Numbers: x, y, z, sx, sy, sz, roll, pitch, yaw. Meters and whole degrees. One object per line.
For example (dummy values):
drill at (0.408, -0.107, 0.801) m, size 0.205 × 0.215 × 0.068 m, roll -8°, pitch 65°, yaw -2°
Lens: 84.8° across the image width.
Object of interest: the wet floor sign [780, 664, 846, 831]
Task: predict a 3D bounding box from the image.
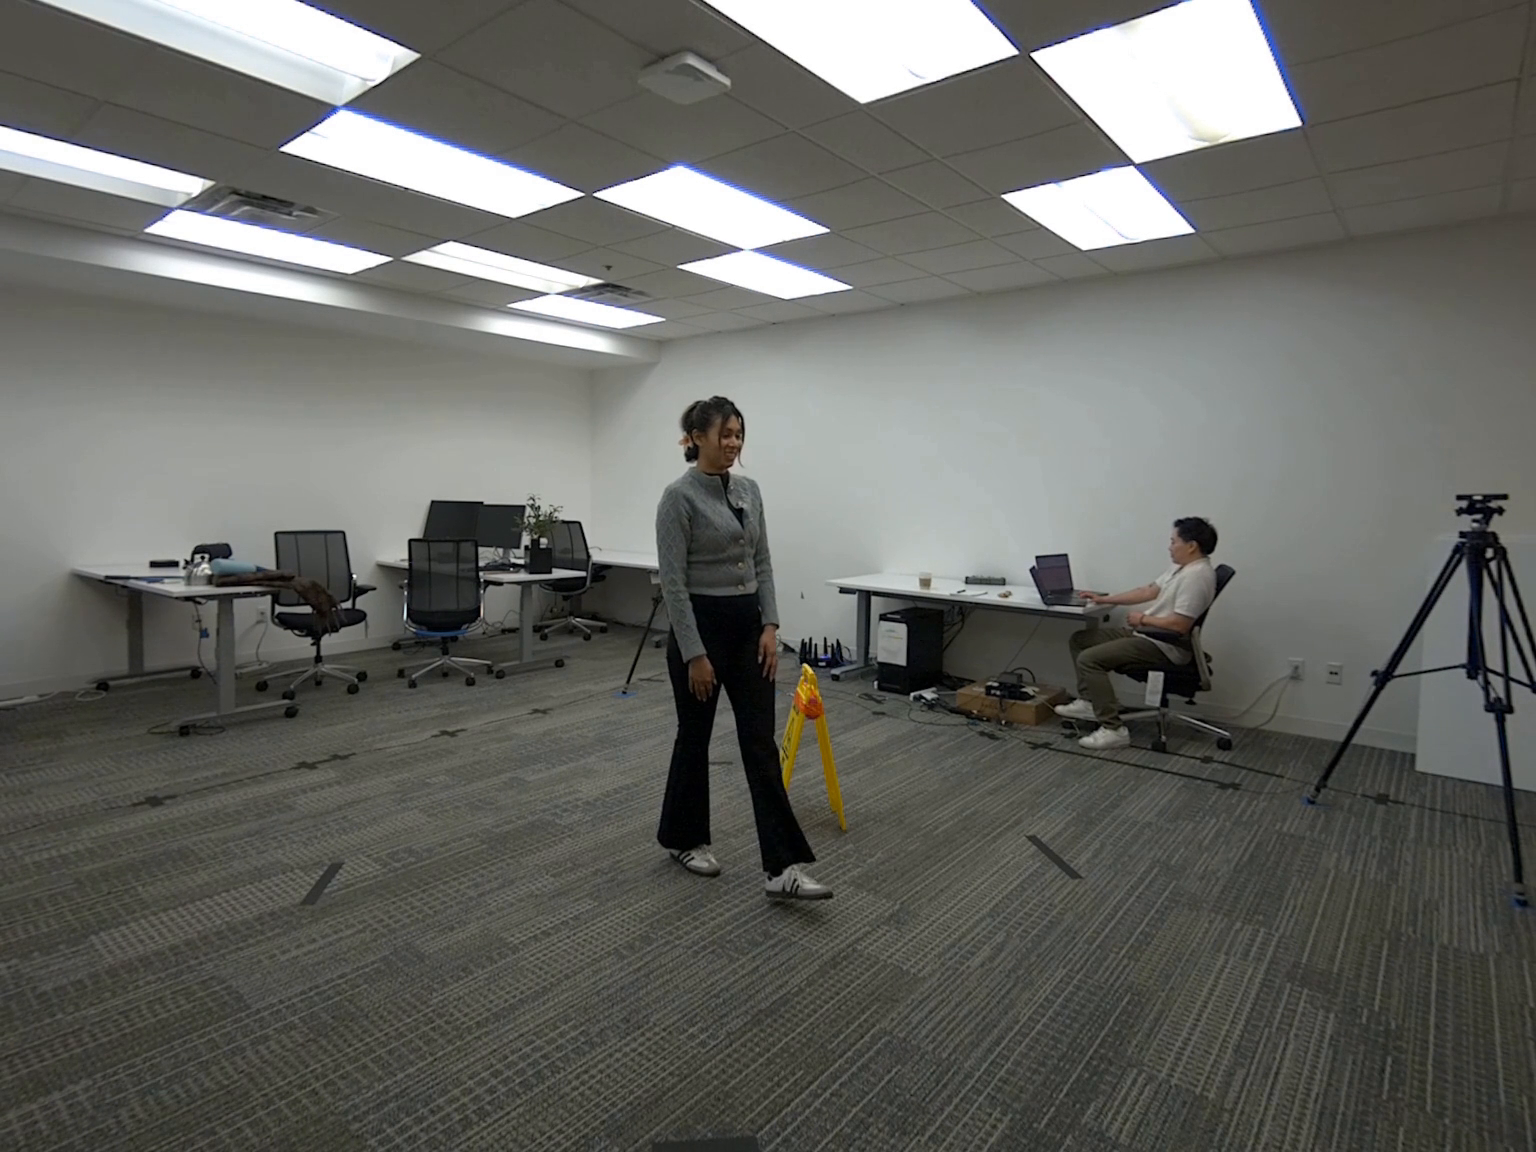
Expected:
wet floor sign at (0.158, 0.698, 3.570) m, size 0.288 × 0.644 × 0.285 m, roll 1°, pitch 4°, yaw -6°
